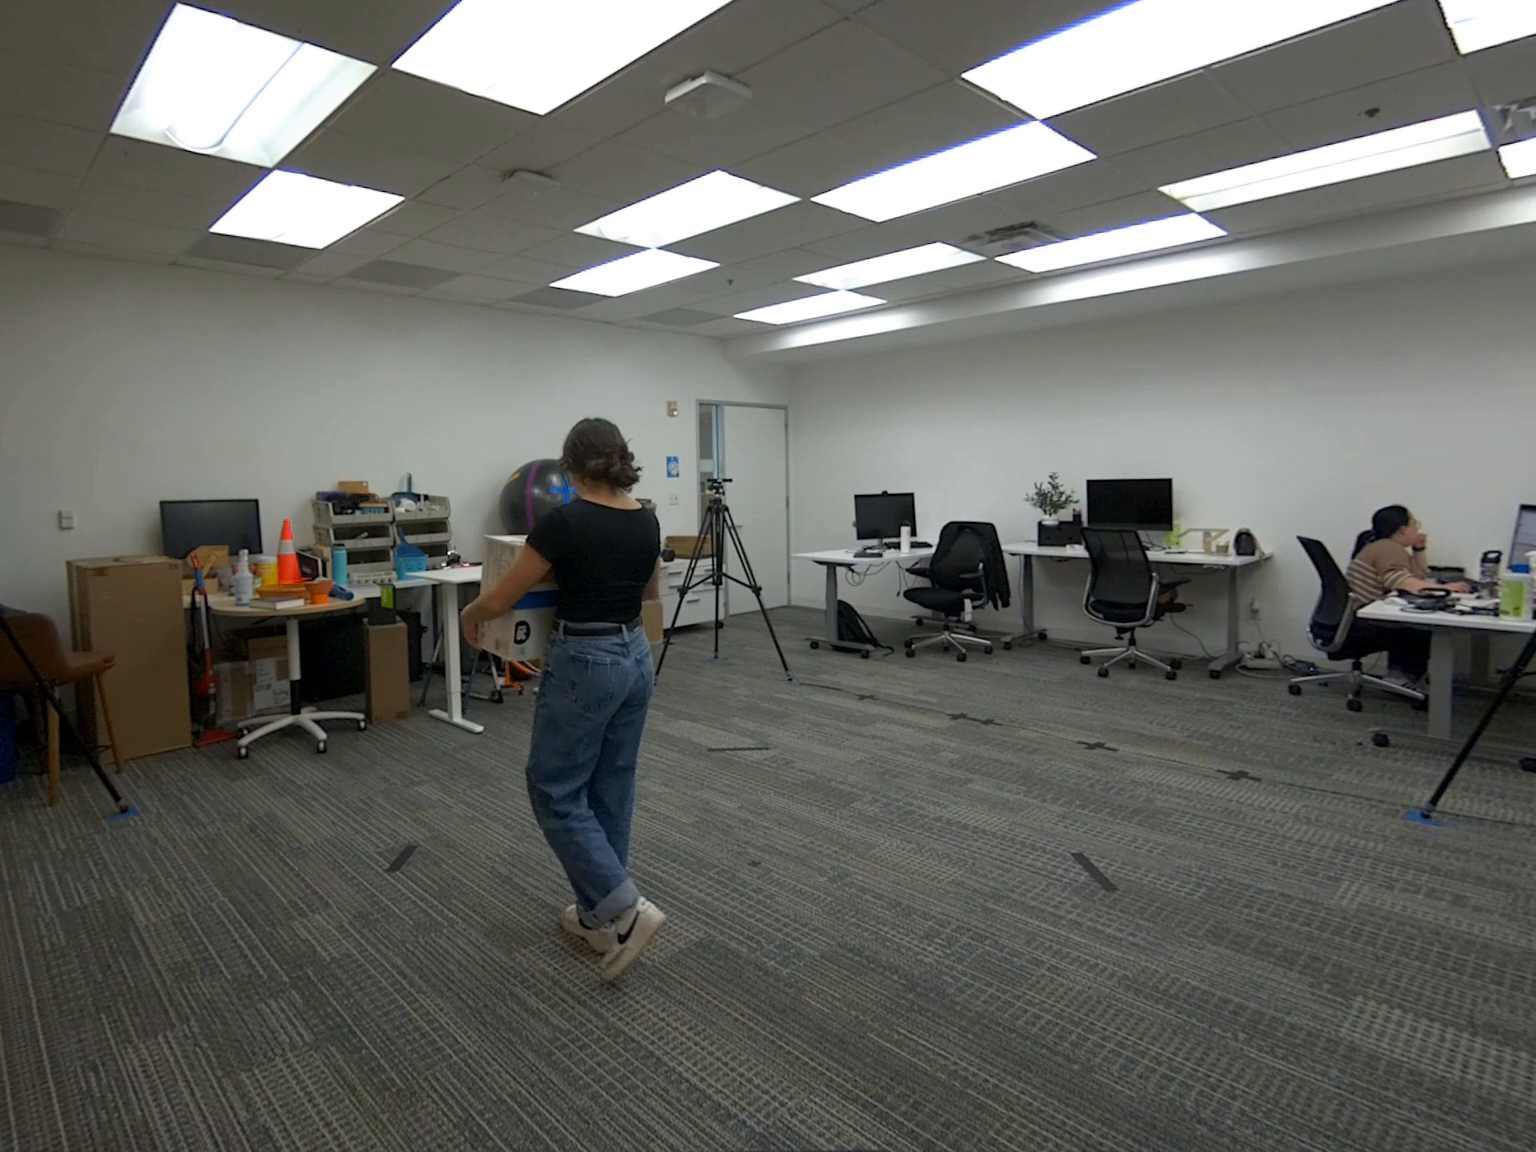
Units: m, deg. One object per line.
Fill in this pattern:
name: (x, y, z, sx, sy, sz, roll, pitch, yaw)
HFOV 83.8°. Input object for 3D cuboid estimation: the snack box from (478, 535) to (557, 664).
snack box: (-0.650, 0.052, 2.634, 0.213, 0.338, 0.394, 11, 9, 42)
